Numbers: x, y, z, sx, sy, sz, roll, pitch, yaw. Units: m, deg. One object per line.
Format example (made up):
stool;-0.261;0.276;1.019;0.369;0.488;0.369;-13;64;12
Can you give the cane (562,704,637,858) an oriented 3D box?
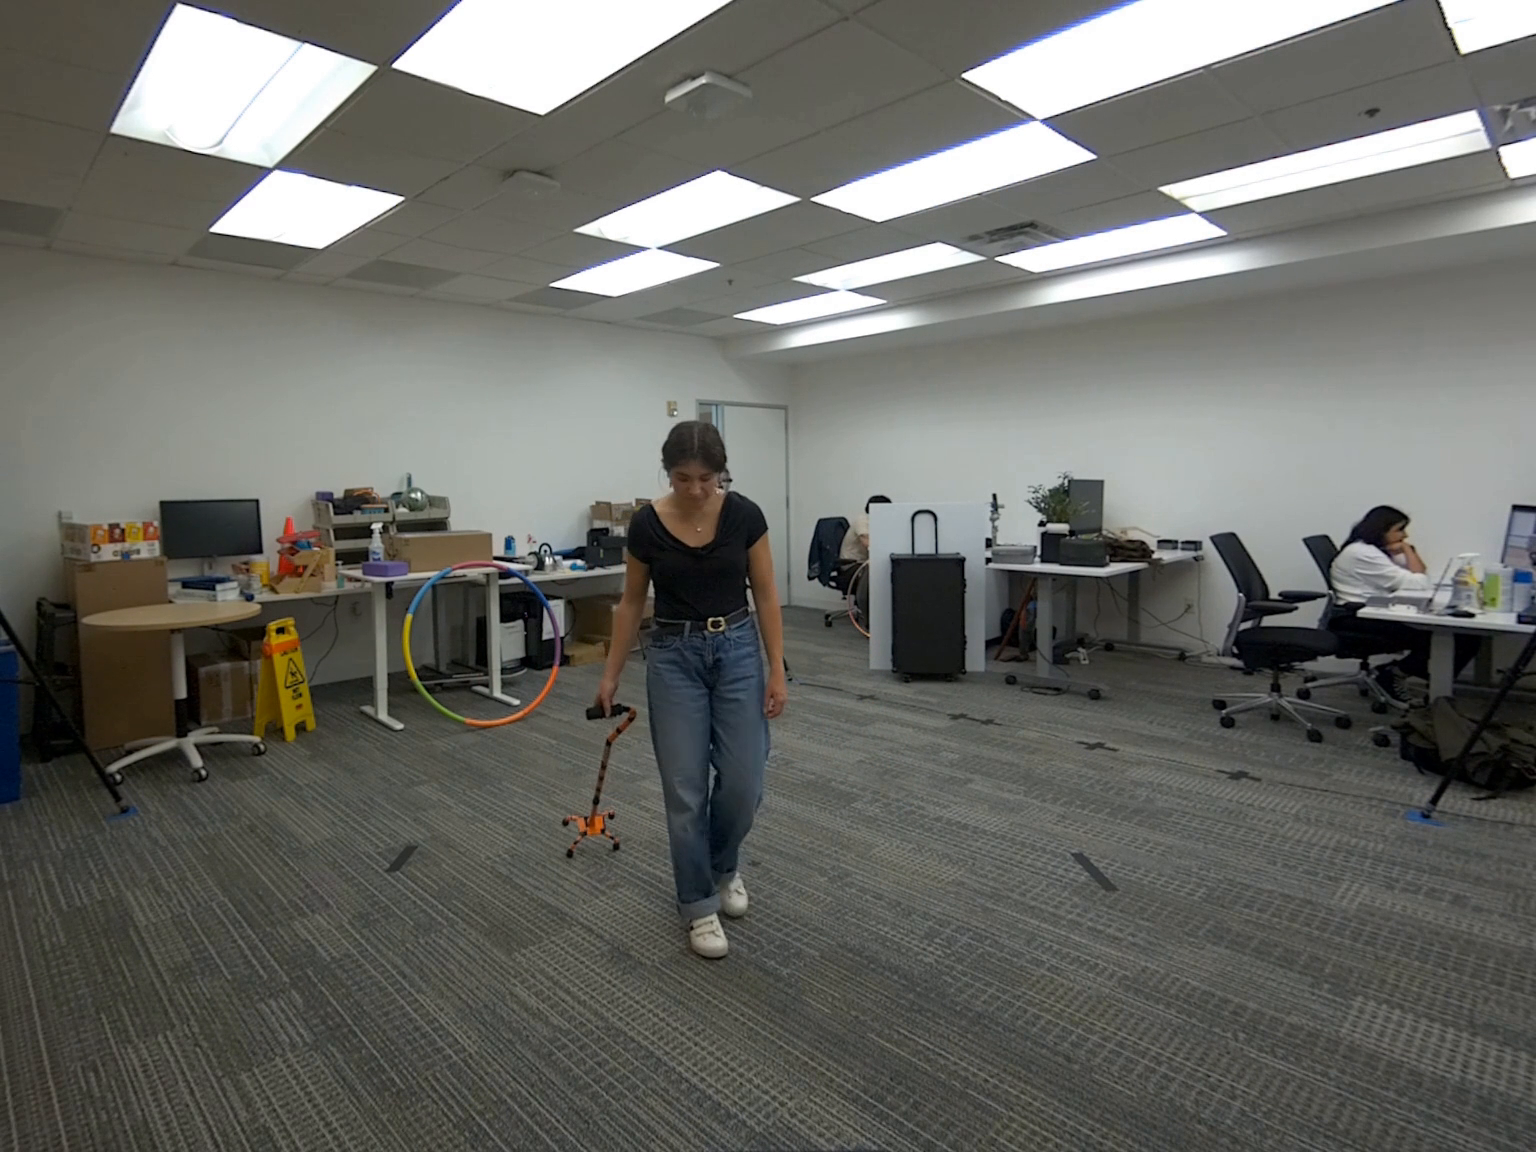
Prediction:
cane;-0.575;0.696;2.948;0.203;0.157;0.892;-3;-40;-20
